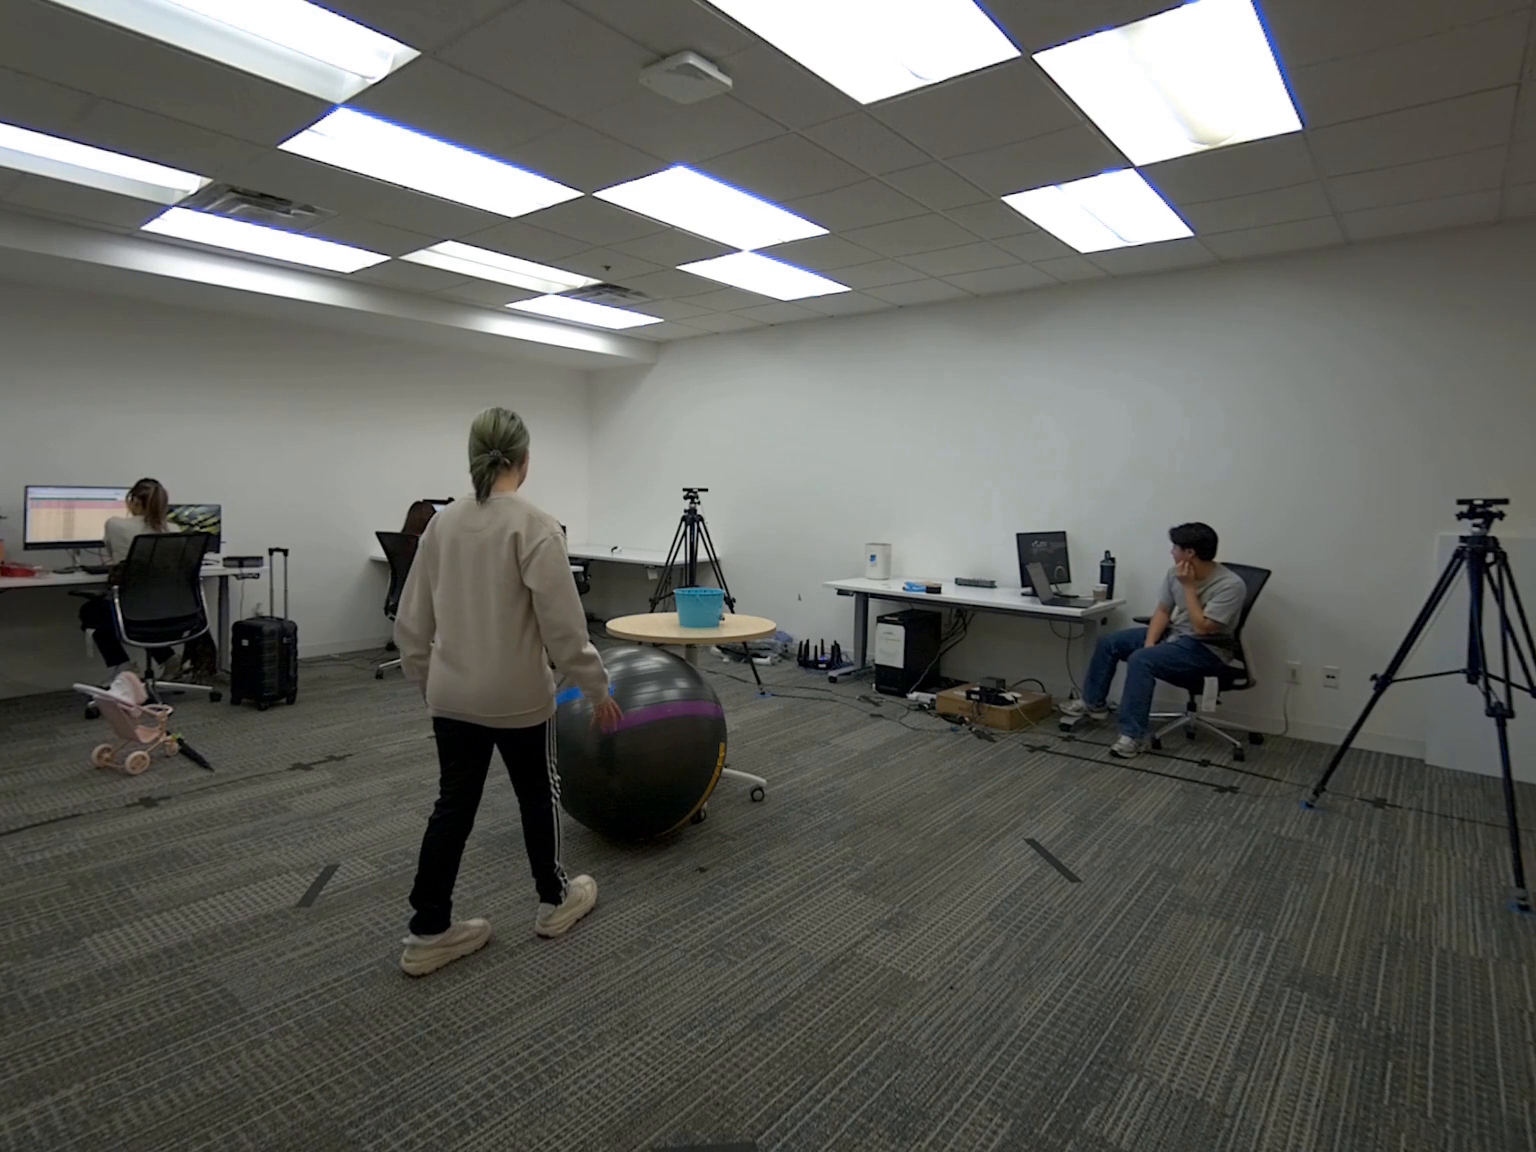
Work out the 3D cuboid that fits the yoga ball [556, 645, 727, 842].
[{"bbox_3d":[-0.562,0.670,3.446,0.757,0.756,0.762,1,4,-2],"label":"yoga ball"}]
